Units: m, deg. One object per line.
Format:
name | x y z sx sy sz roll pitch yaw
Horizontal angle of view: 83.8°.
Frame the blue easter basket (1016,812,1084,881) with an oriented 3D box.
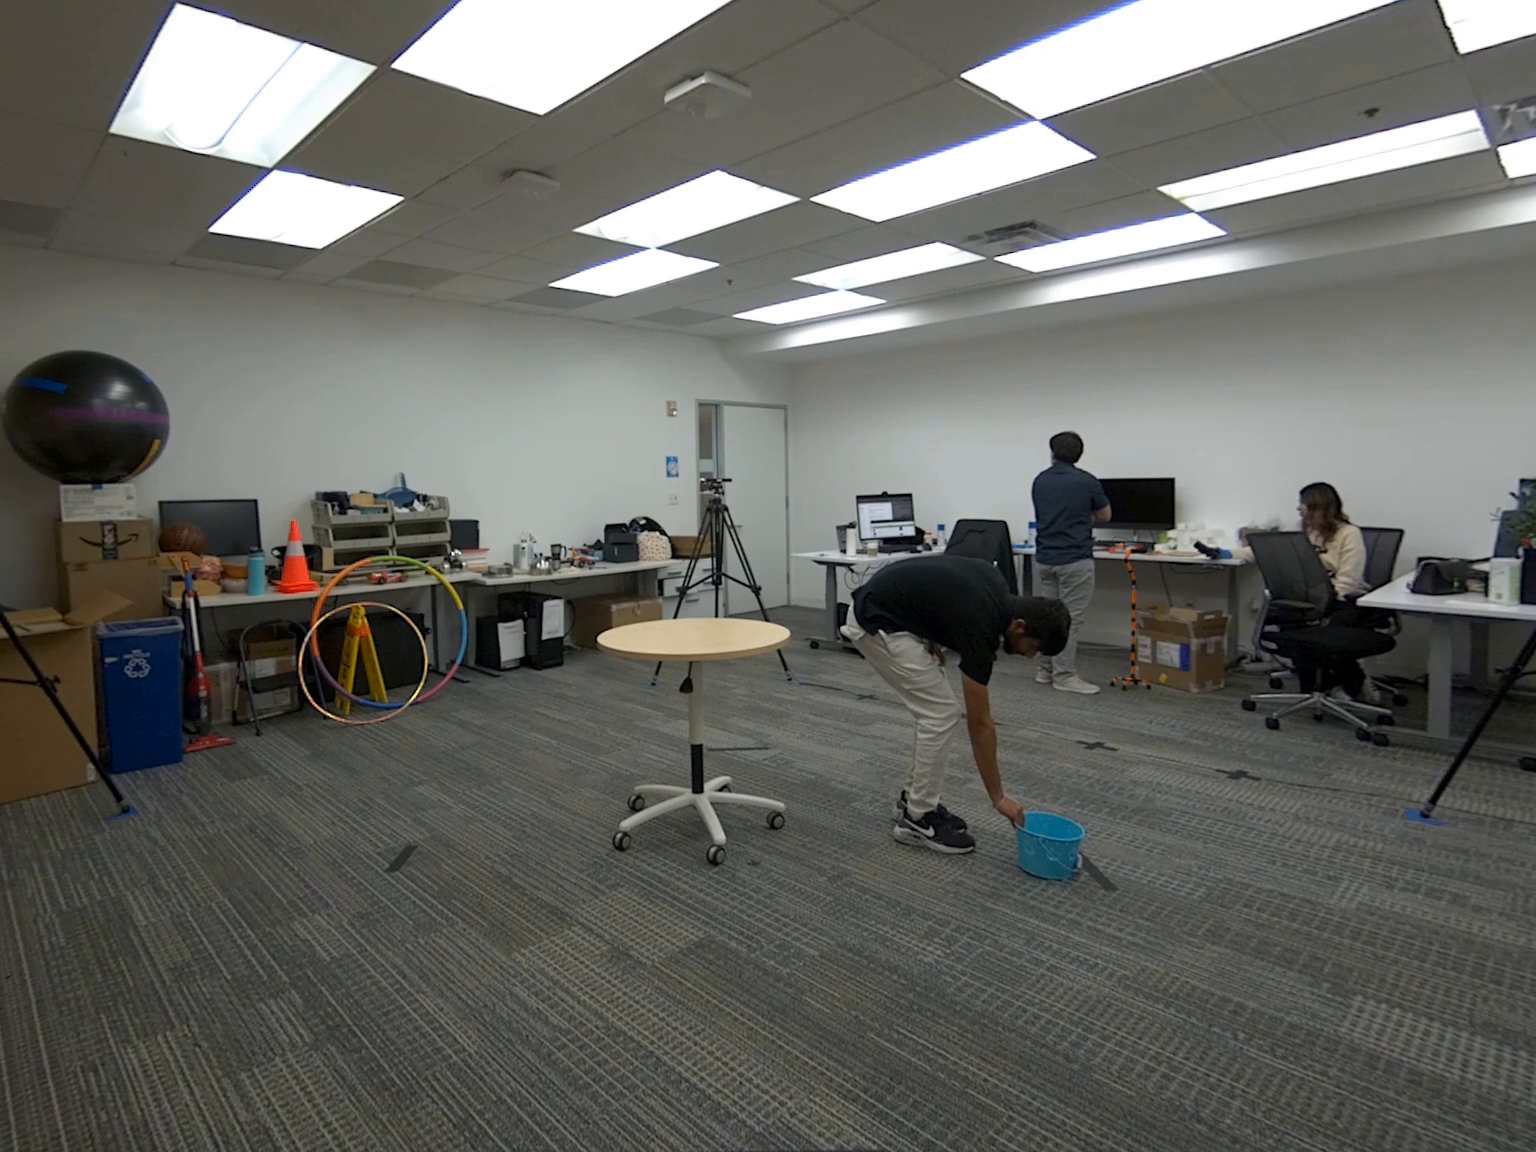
blue easter basket | 0.996 0.959 3.012 0.243 0.155 0.245 2 6 -2
